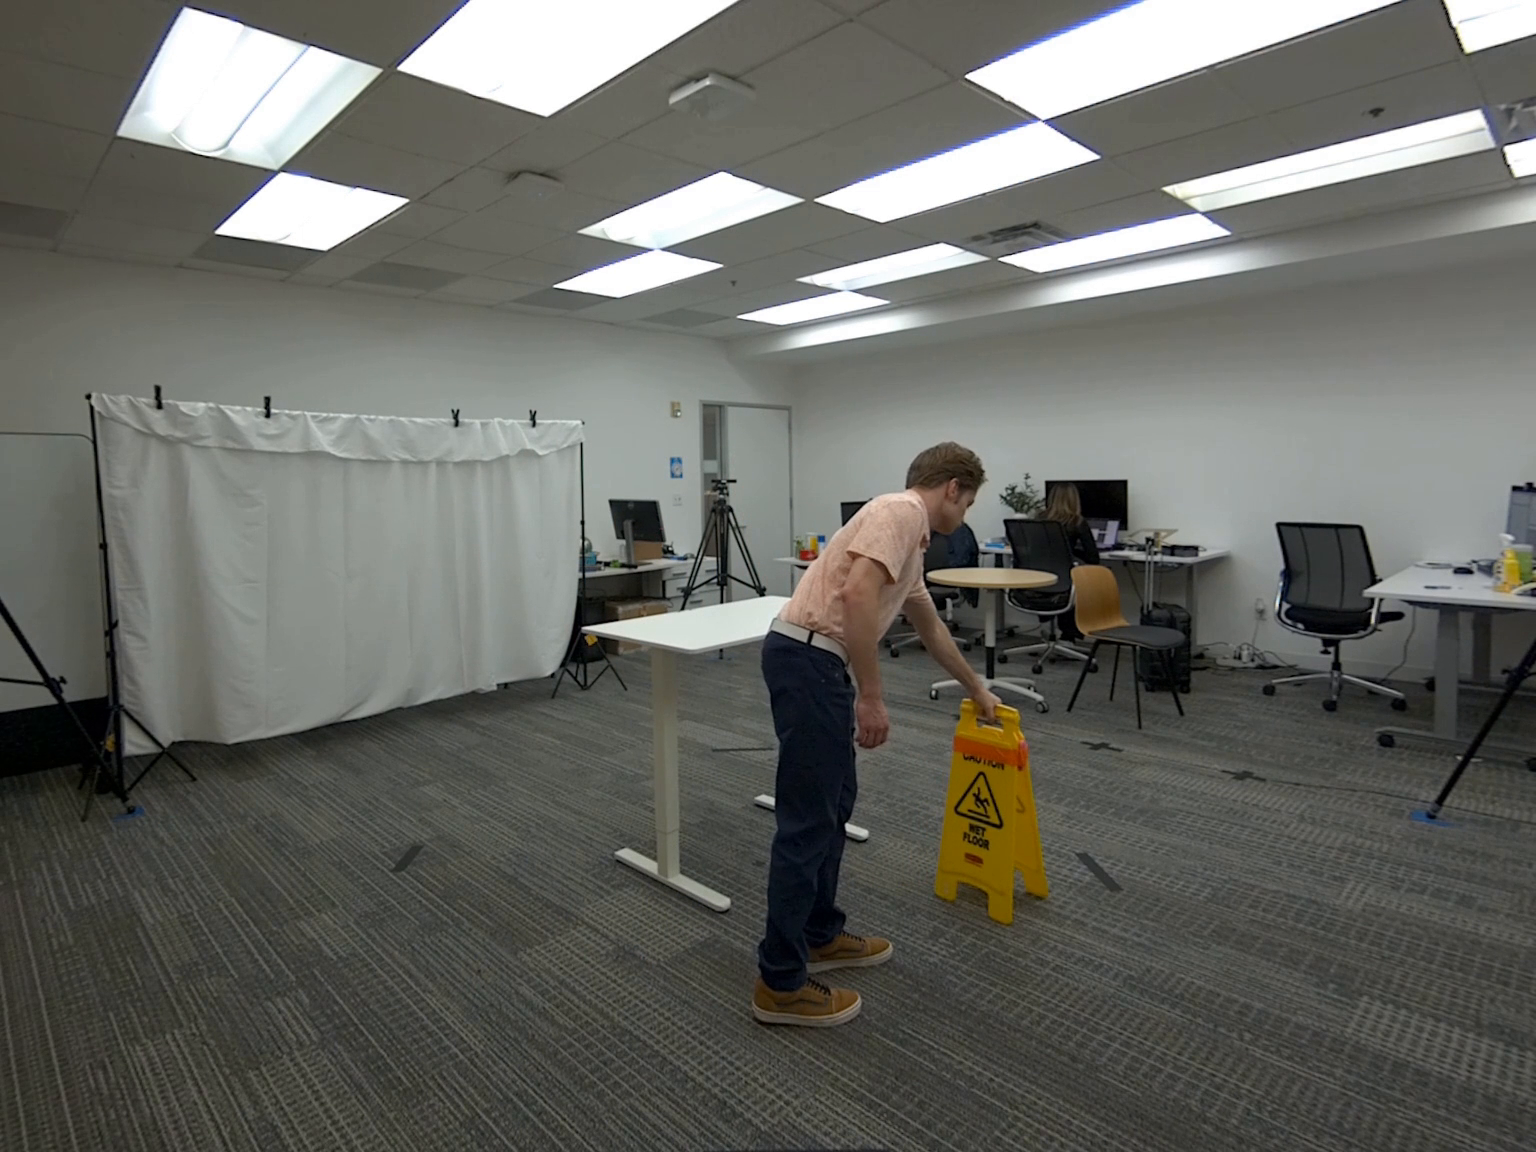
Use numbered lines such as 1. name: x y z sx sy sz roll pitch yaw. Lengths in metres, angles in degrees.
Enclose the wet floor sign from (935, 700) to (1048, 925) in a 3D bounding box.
1. wet floor sign: 0.731 0.743 2.801 0.282 0.643 0.291 -7 7 -44
